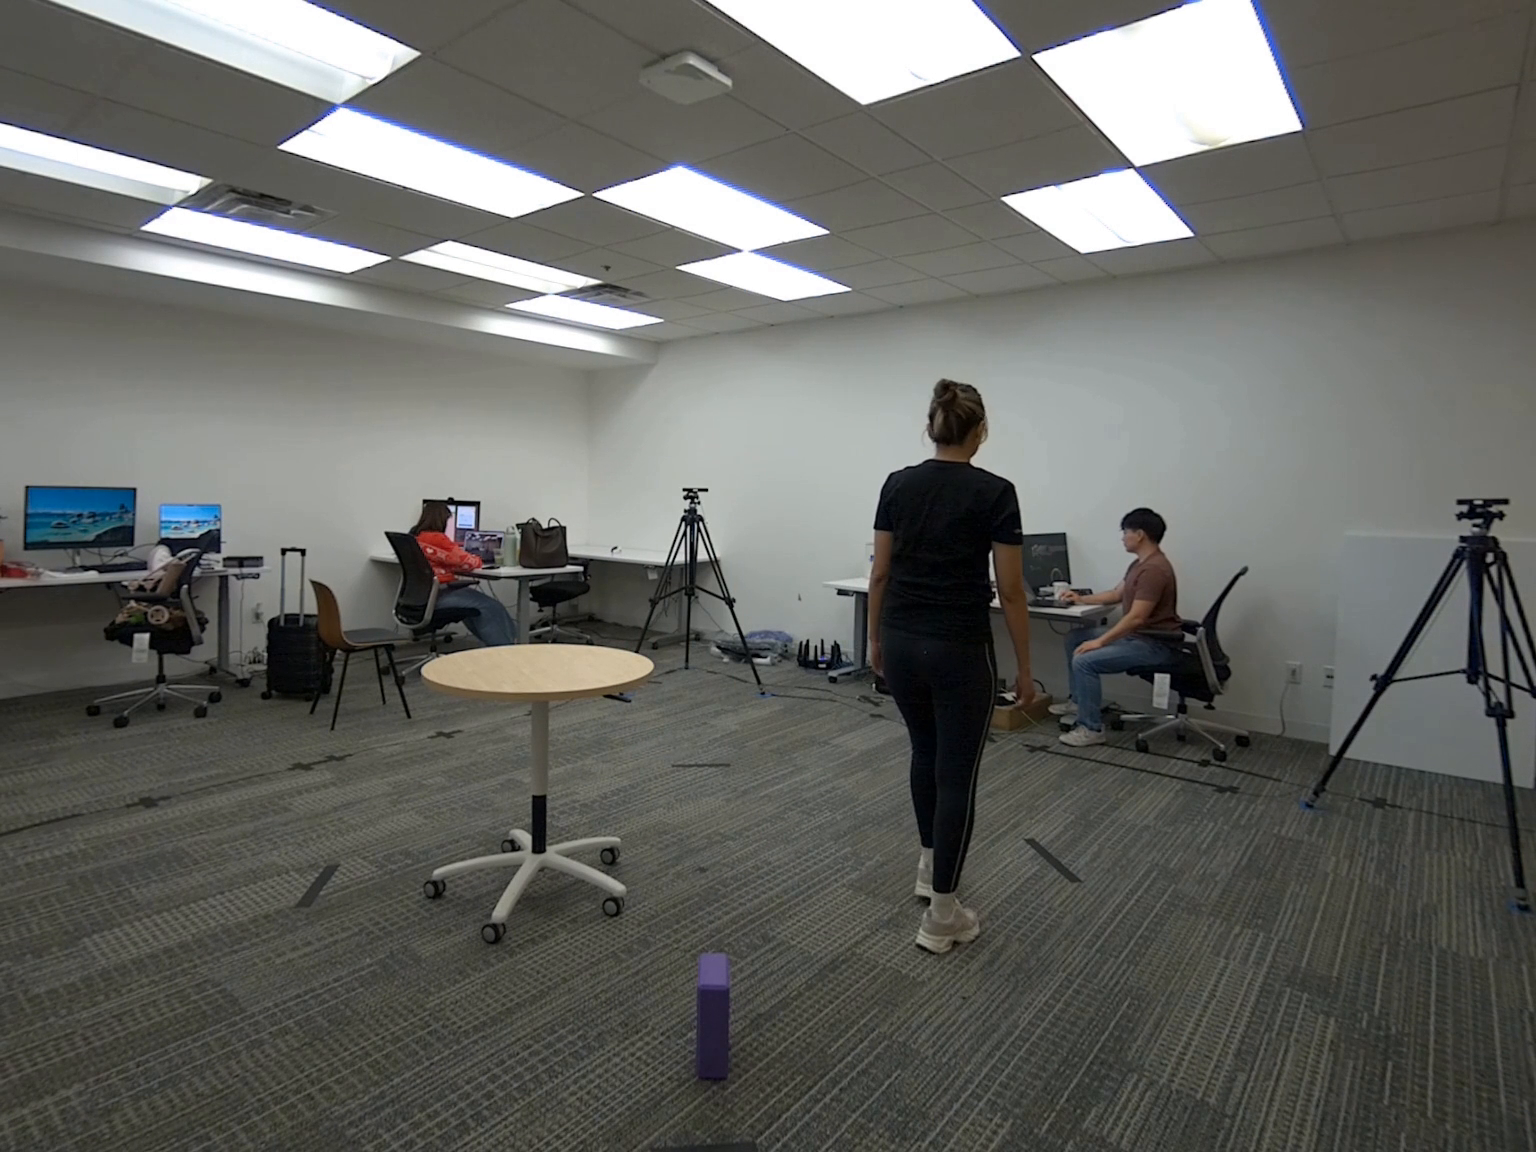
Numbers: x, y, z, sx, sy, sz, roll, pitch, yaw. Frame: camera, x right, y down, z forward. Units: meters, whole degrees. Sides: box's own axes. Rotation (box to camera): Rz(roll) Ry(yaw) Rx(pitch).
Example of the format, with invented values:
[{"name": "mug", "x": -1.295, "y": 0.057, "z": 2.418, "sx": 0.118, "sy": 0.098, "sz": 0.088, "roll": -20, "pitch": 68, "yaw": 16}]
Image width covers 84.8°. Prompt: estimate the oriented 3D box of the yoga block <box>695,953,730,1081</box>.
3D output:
[{"name": "yoga block", "x": -0.137, "y": 1.060, "z": 2.064, "sx": 0.076, "sy": 0.228, "sz": 0.150, "roll": 3, "pitch": 5, "yaw": -2}]
